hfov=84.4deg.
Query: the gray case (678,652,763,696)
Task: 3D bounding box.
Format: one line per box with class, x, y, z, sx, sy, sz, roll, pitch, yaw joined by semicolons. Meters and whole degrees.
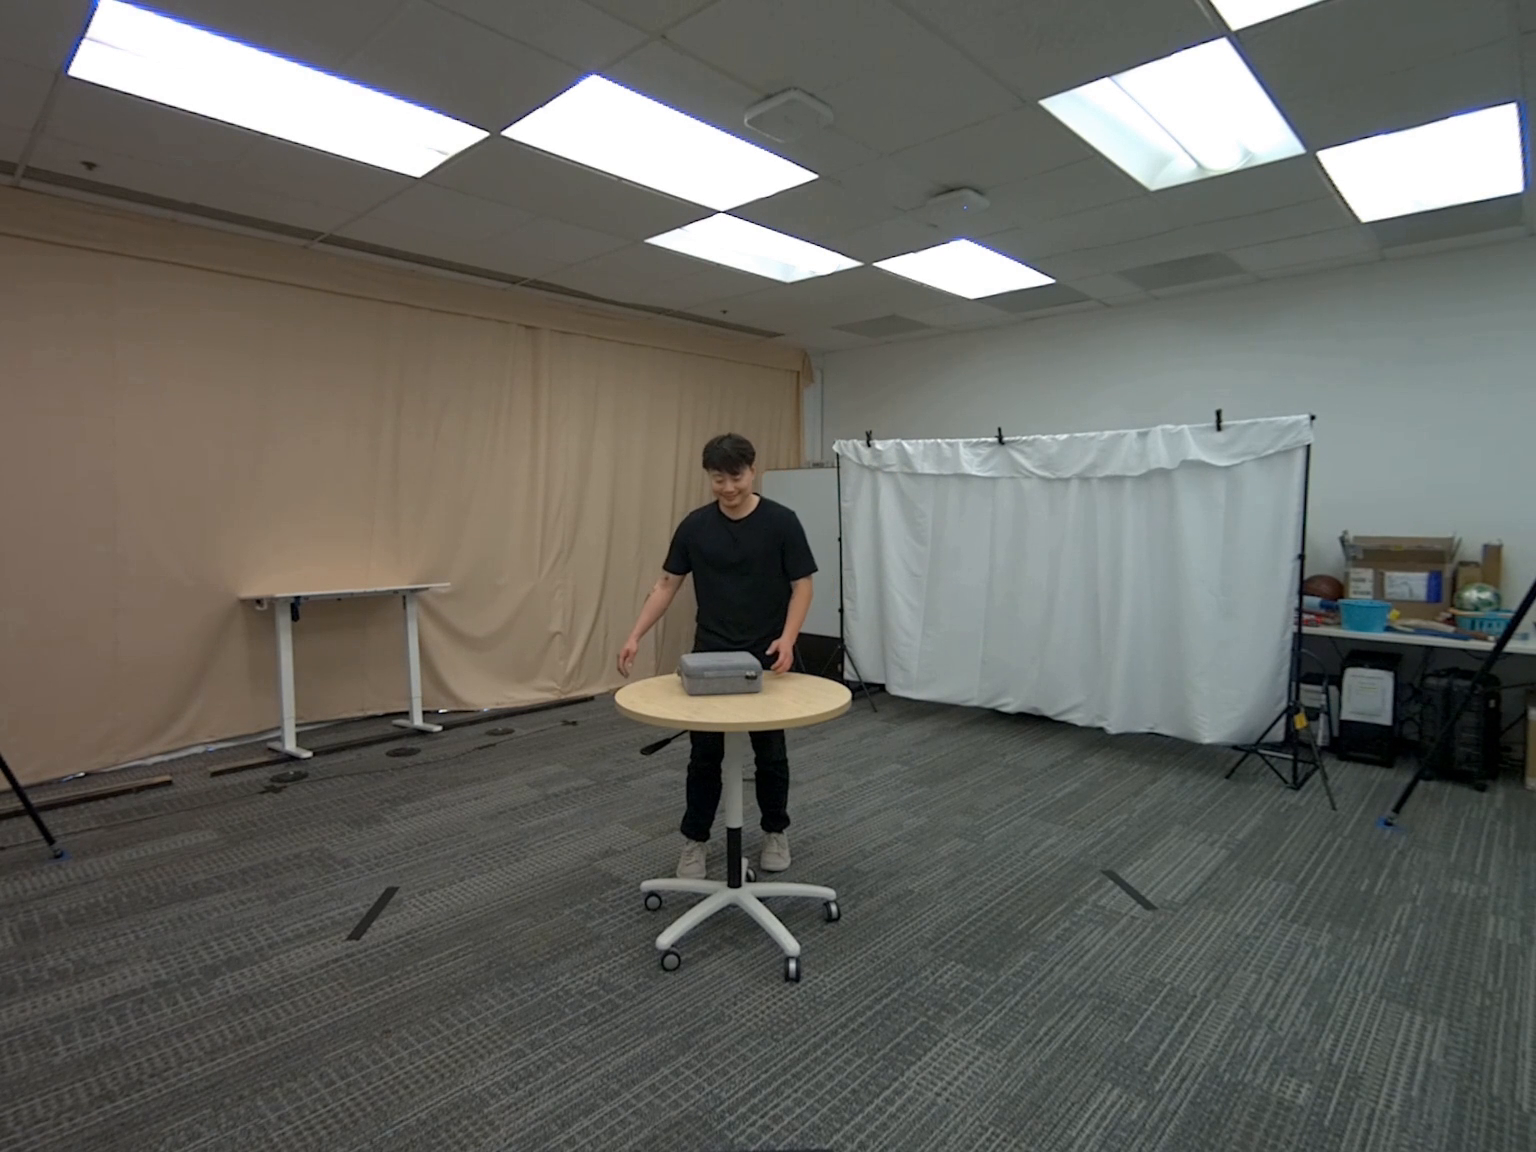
gray case;-0.164;0.323;2.836;0.254;0.104;0.264;-3;4;-10
